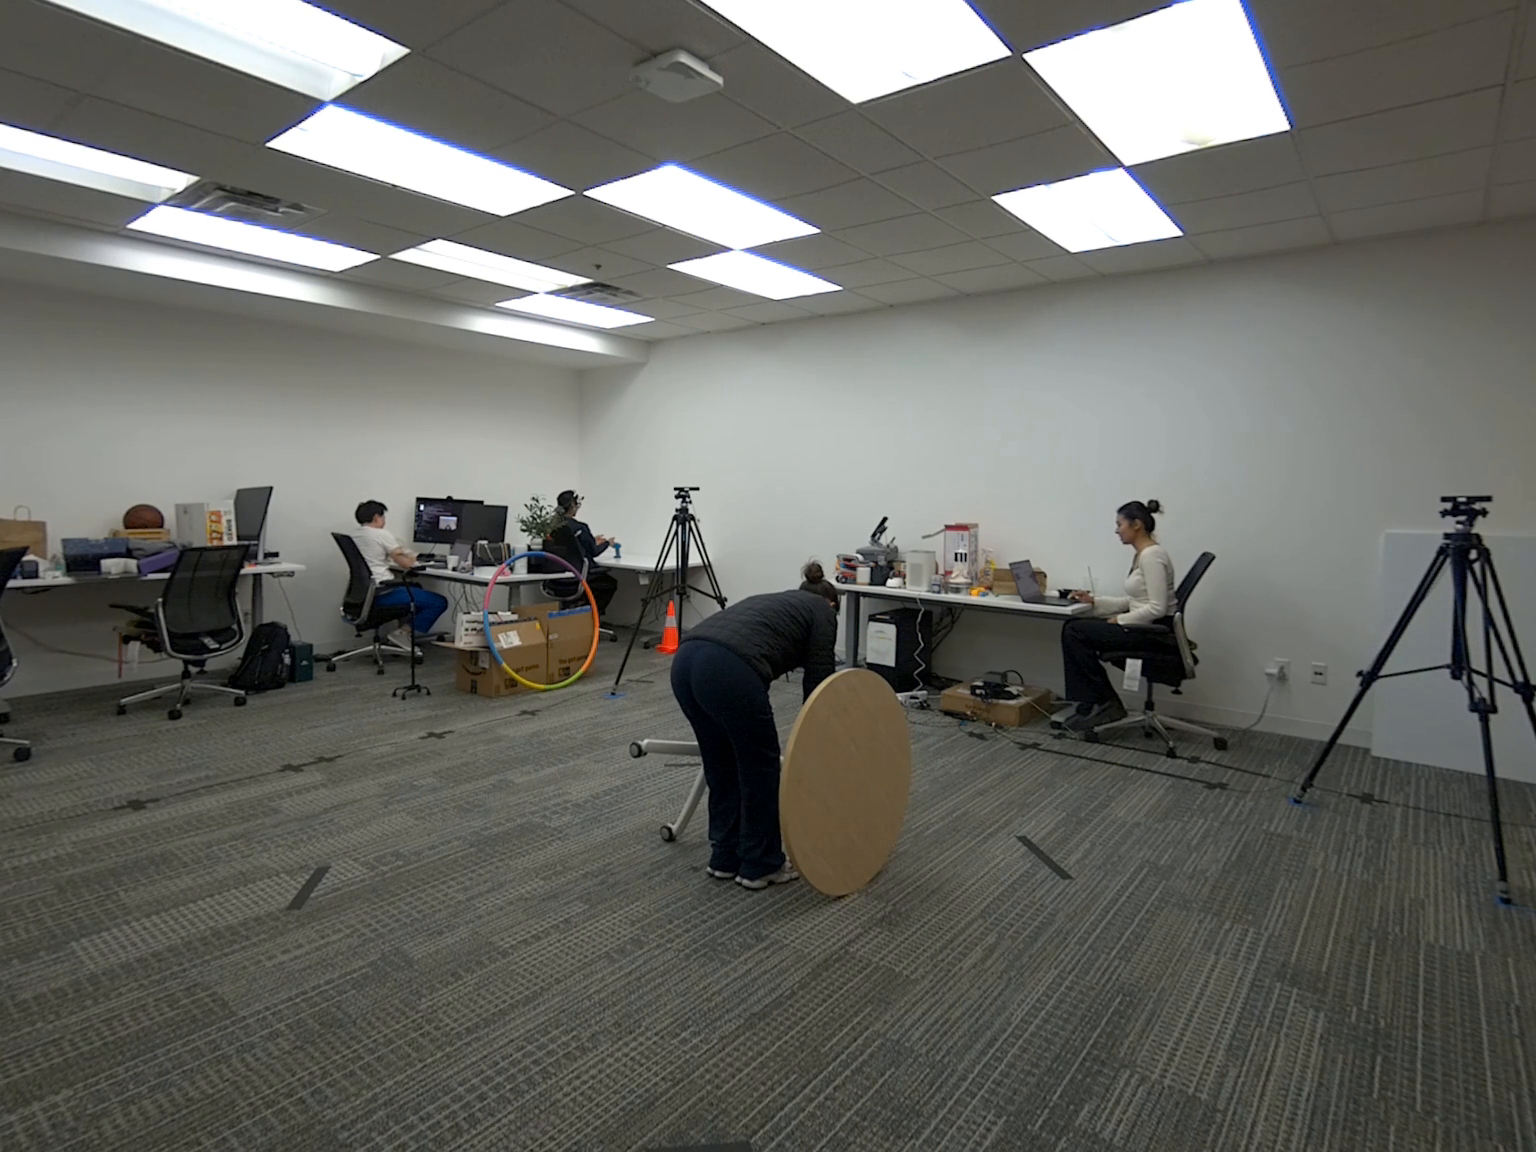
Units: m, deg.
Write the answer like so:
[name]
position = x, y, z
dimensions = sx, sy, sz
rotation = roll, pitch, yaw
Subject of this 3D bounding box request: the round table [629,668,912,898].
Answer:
[round table]
position = 0.007, 0.714, 3.239
dimensions = 0.811, 0.785, 0.762
rotation = -2, 1, 41
